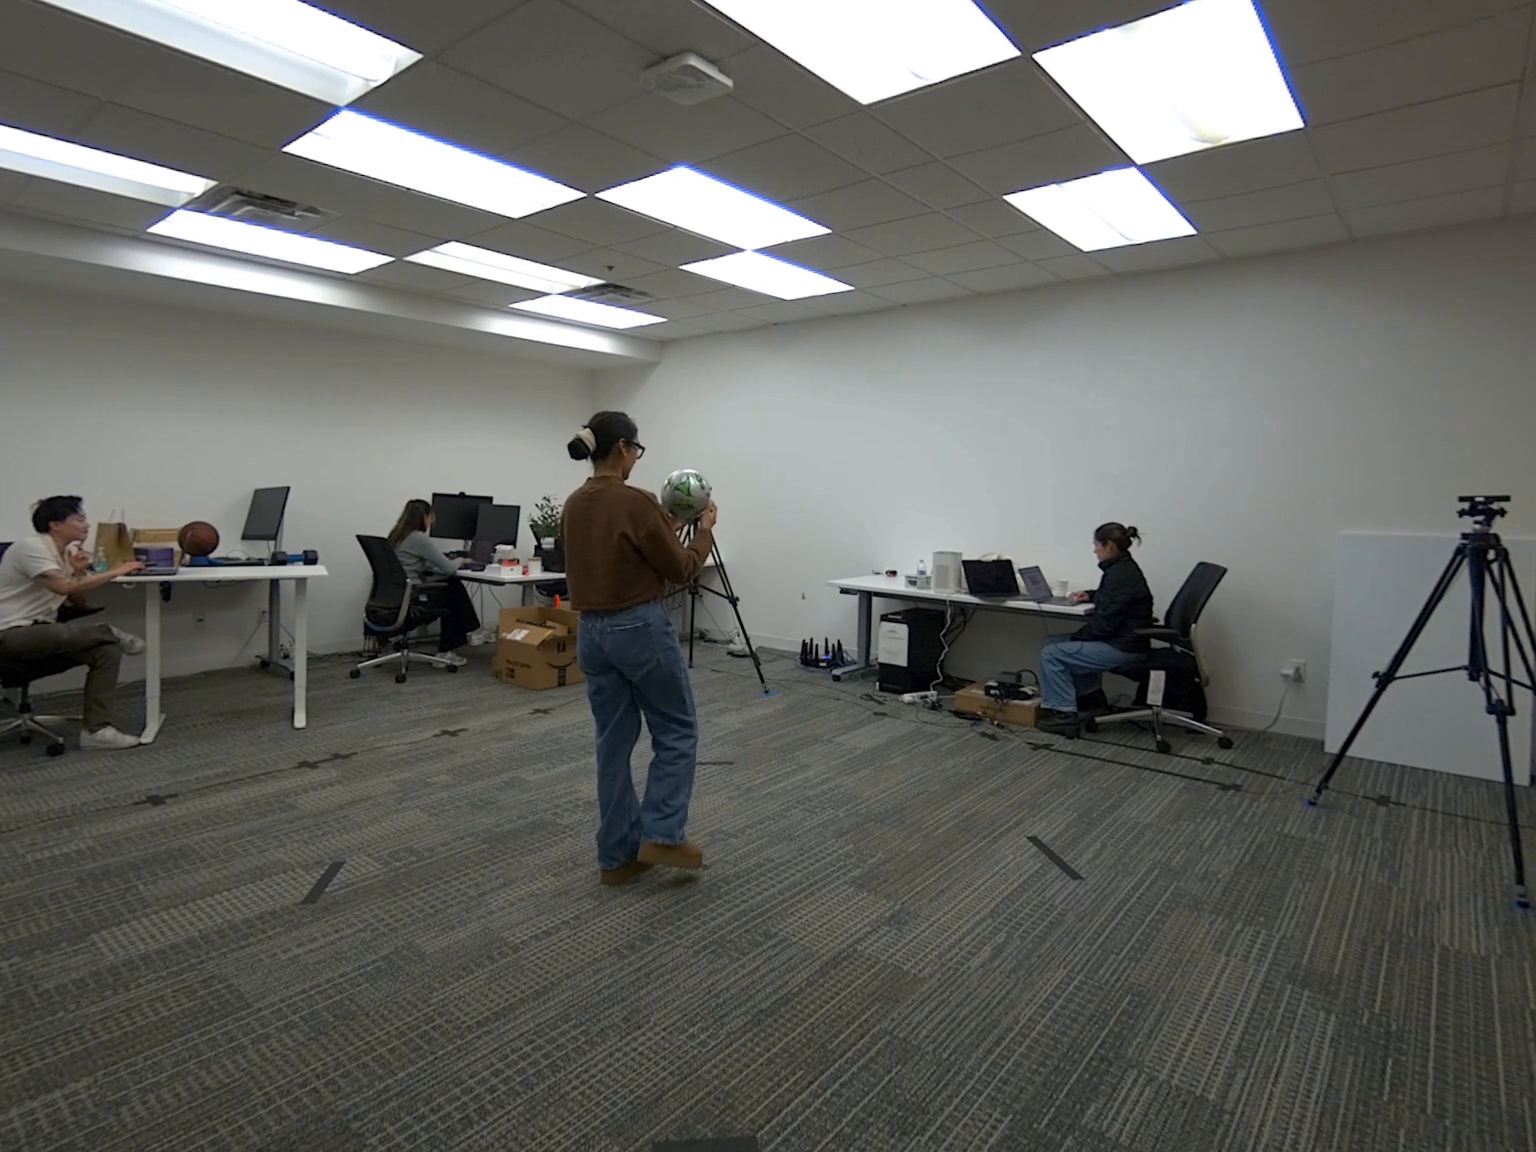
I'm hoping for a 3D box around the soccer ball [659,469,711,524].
[{"bbox_3d":[-0.310,-0.300,3.180,0.187,0.187,0.188,1,4,-2],"label":"soccer ball"}]
